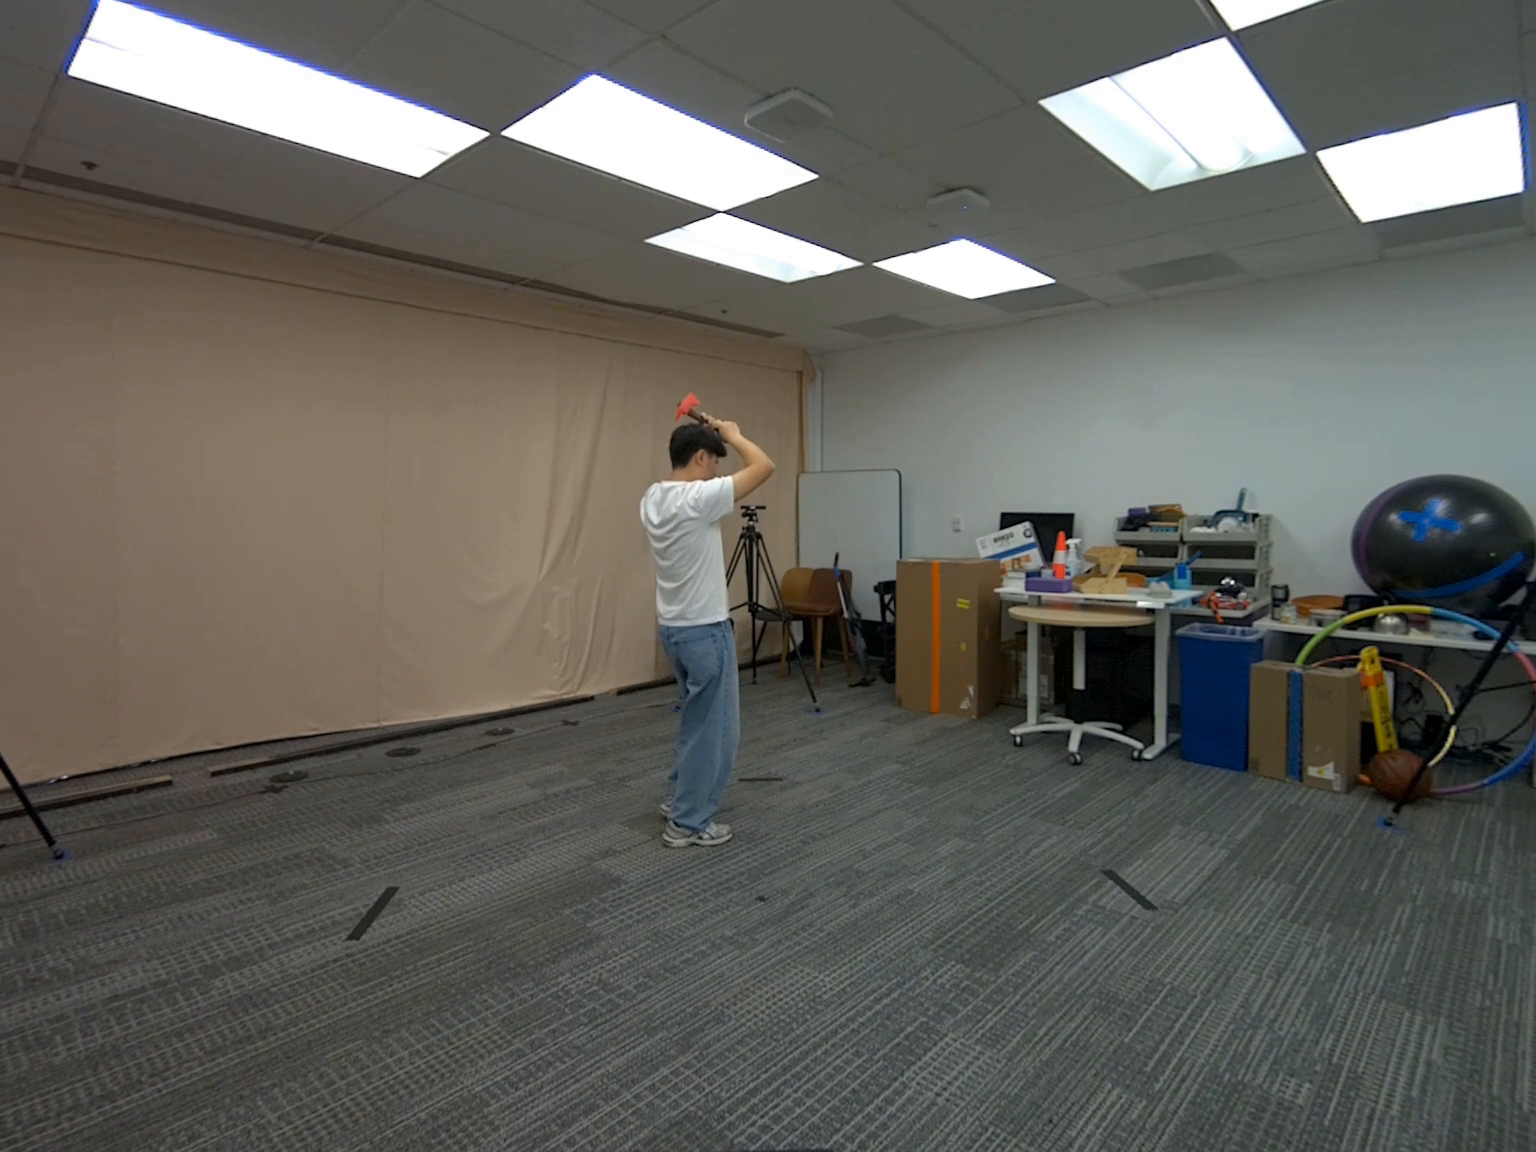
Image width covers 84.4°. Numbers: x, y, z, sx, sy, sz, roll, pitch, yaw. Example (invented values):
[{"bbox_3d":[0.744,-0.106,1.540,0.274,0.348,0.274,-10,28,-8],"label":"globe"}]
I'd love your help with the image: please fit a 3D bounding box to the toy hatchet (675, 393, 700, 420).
[{"bbox_3d":[-0.250,-0.685,3.549,0.266,0.131,0.030,11,-6,-13],"label":"toy hatchet"}]
